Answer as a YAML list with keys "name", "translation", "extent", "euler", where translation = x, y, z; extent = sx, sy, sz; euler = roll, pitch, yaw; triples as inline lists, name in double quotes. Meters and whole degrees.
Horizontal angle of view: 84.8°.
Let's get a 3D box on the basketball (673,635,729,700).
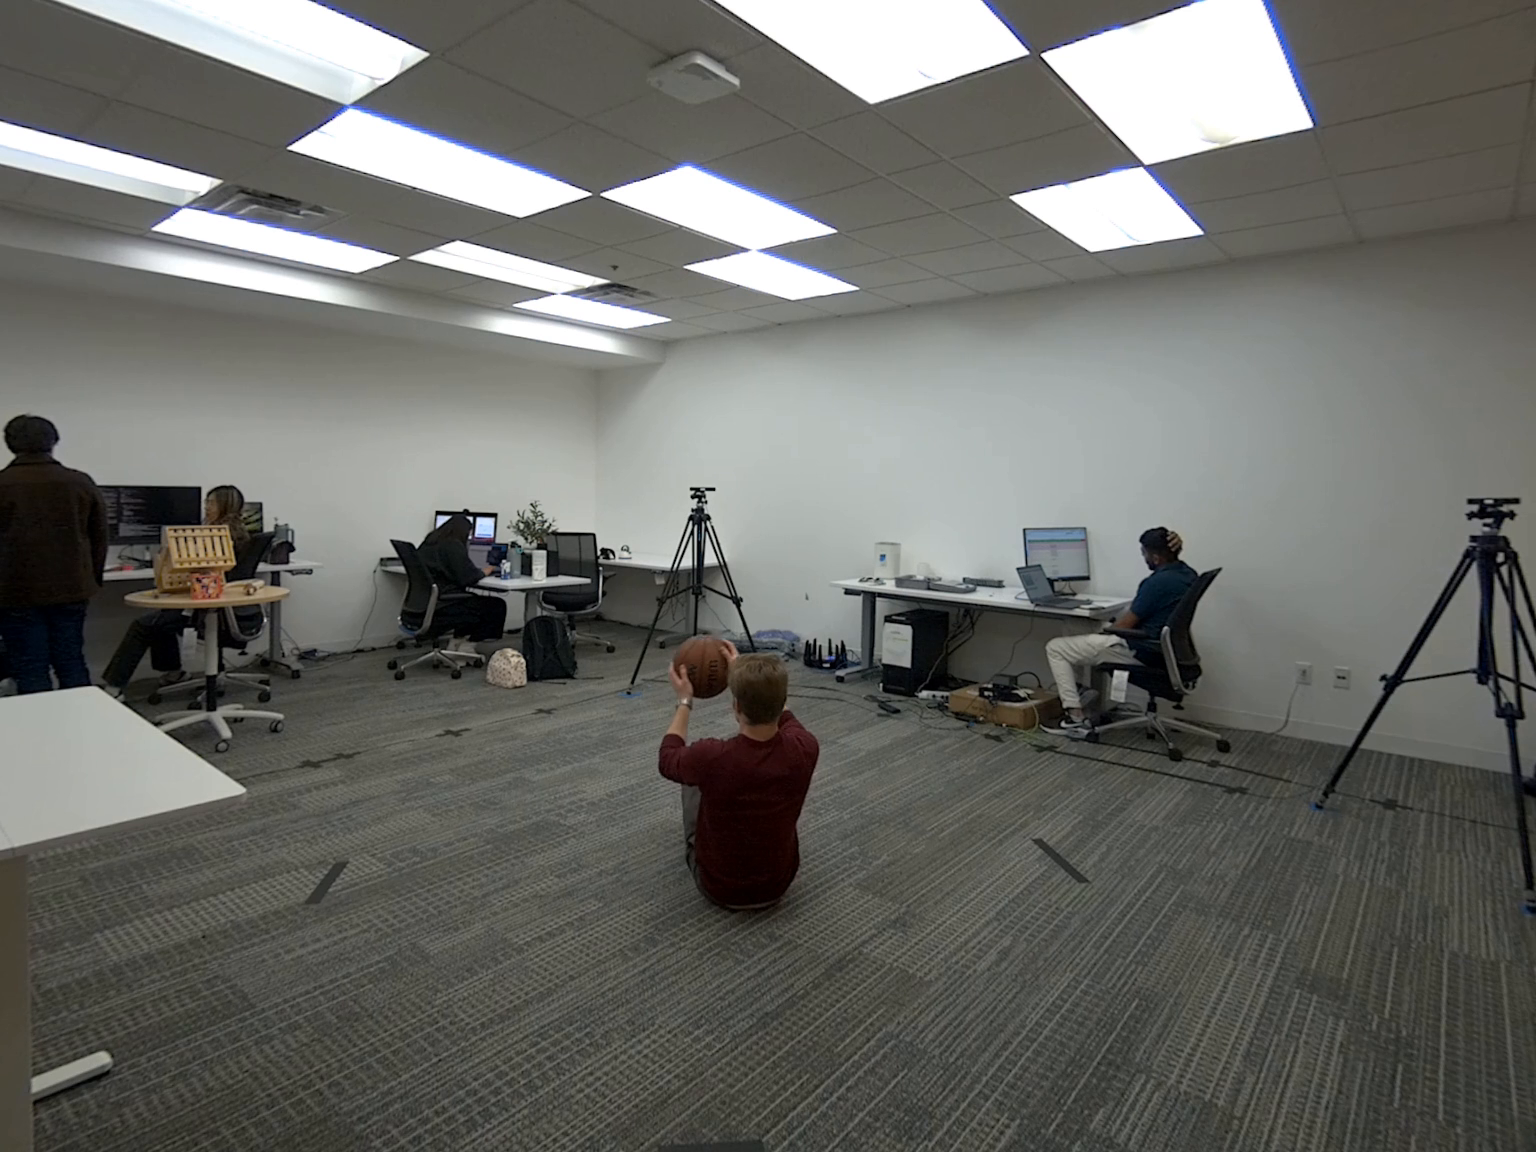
- name: "basketball"
  translation: [-0.248, 0.364, 3.225]
  extent: [0.235, 0.235, 0.237]
  euler: [1, 4, -2]
